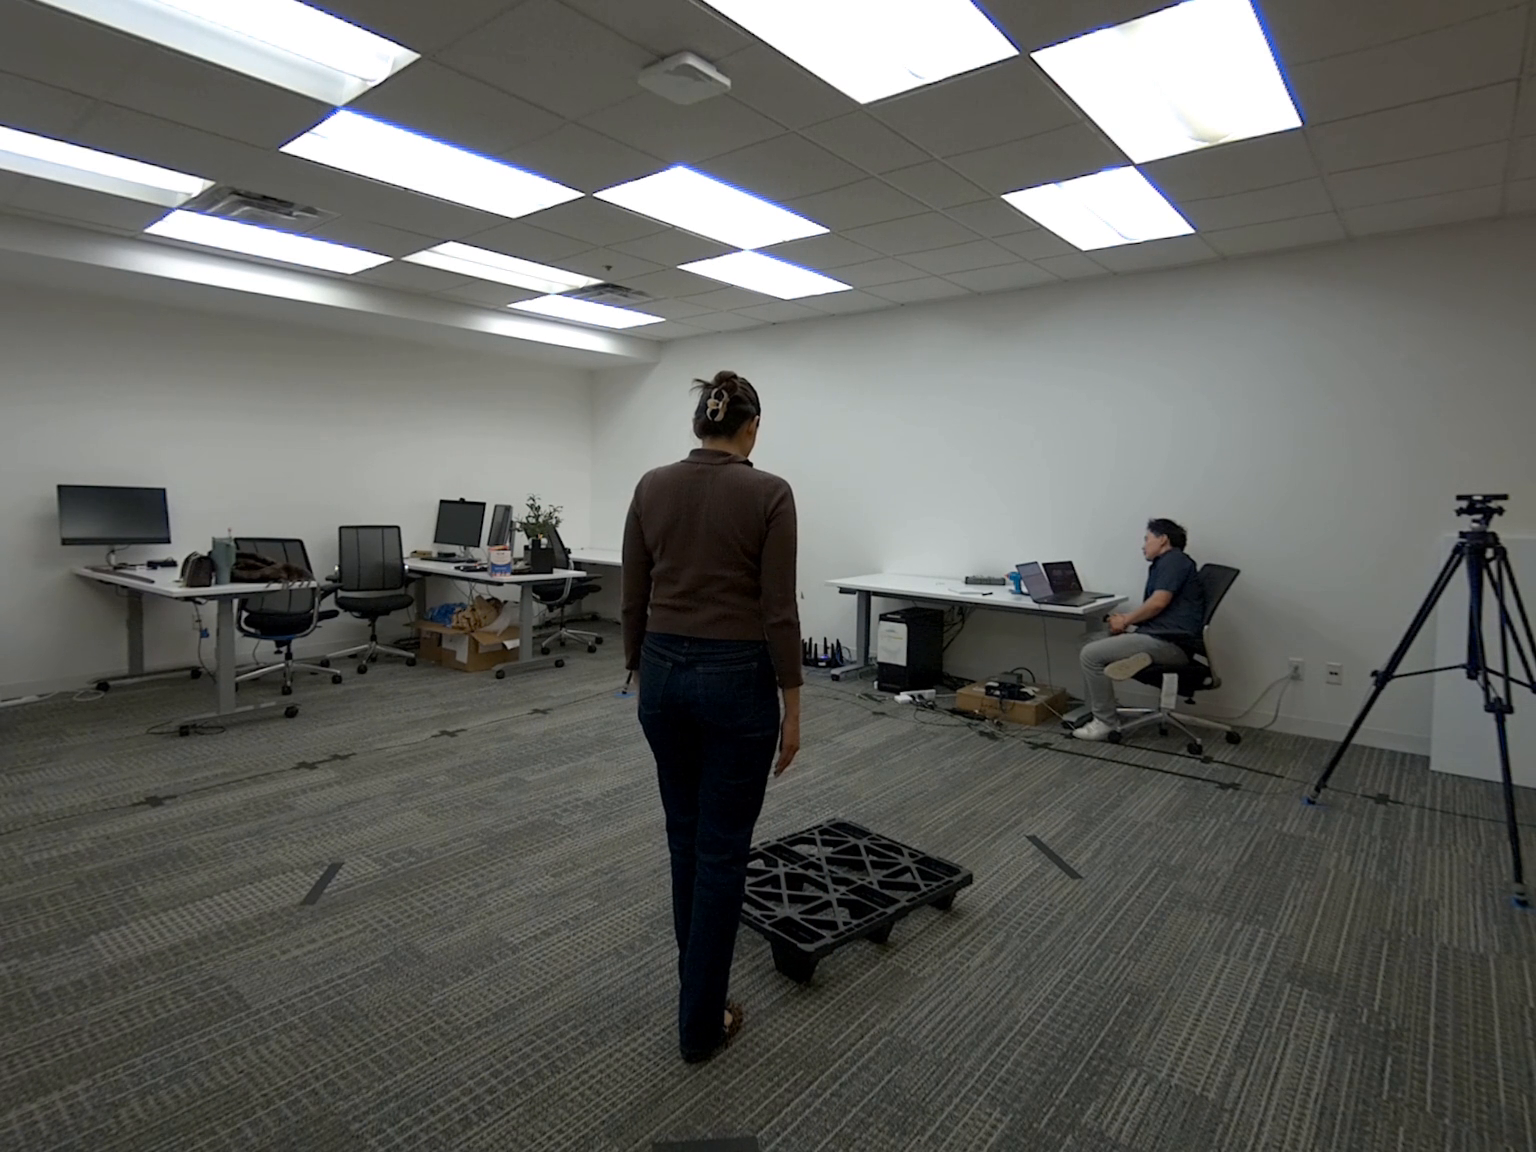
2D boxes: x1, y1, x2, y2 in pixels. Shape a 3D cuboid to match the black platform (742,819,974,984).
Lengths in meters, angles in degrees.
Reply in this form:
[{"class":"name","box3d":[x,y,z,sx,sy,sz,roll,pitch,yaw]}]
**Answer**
[{"class":"black platform","box3d":[0.181,1.038,2.794,0.781,0.143,0.626,-4,7,-42]}]
